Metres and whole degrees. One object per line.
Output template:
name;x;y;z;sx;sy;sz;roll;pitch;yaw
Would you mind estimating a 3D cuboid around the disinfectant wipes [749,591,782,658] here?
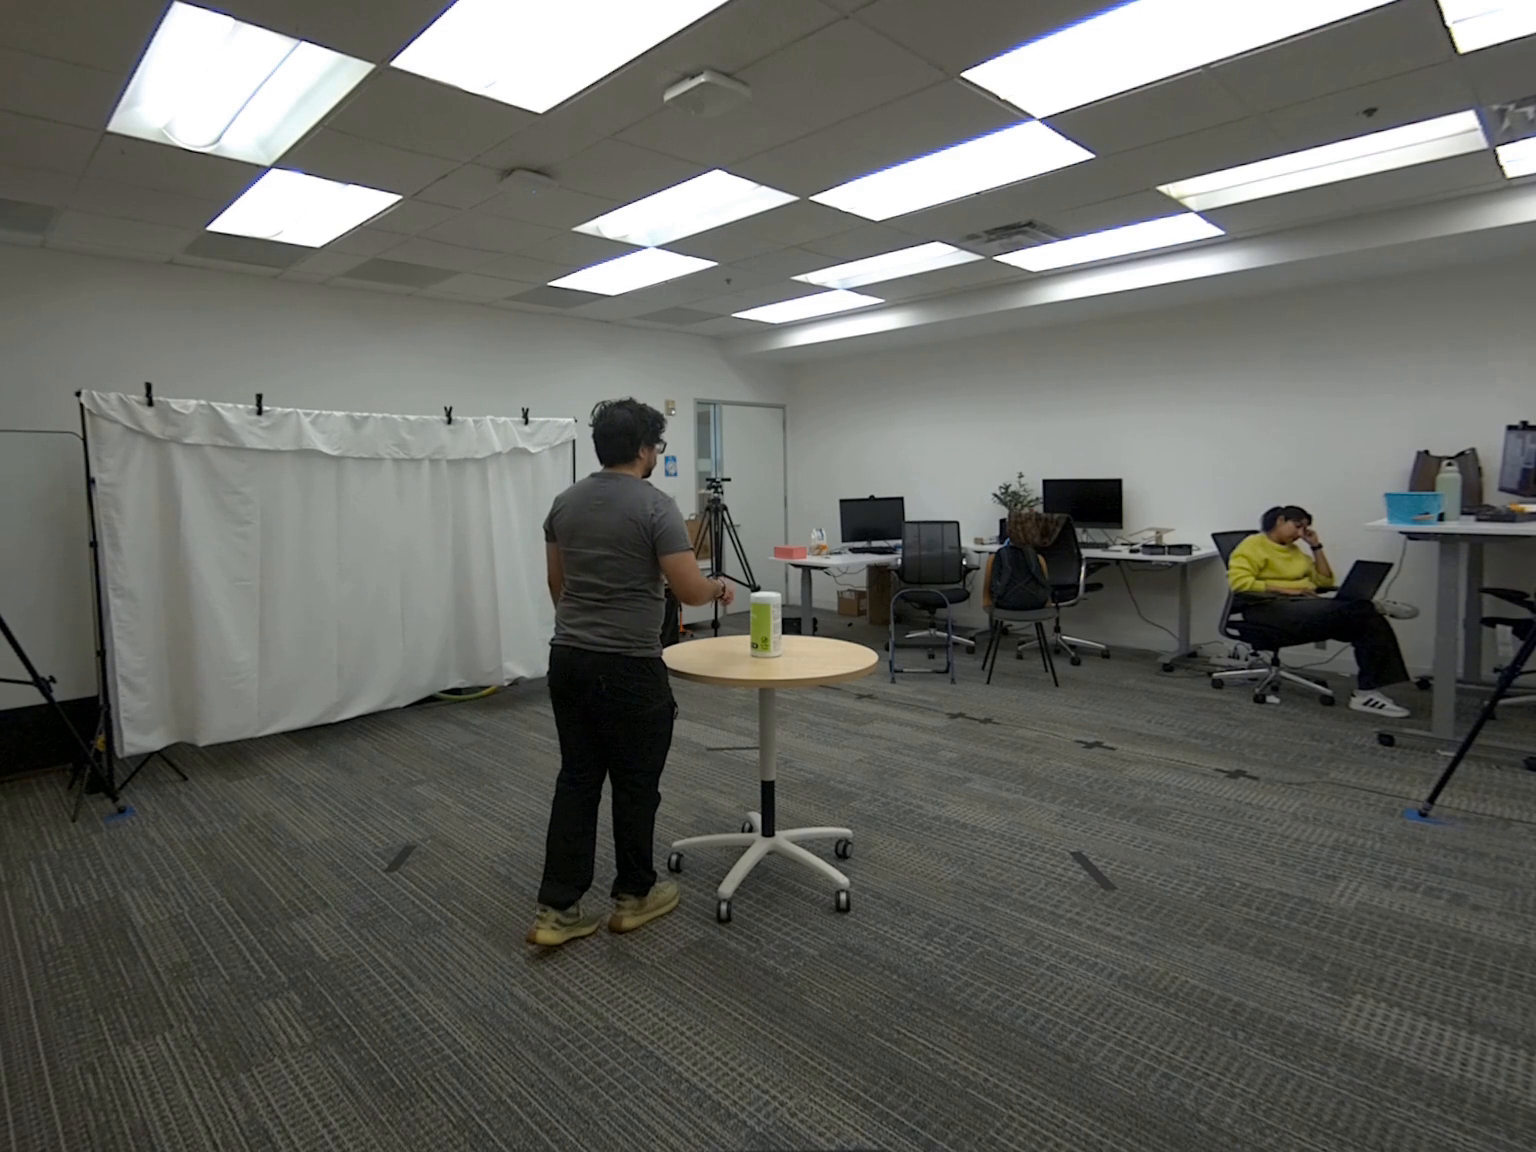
disinfectant wipes;-0.004;0.168;2.961;0.118;0.217;0.118;-1;3;-2
